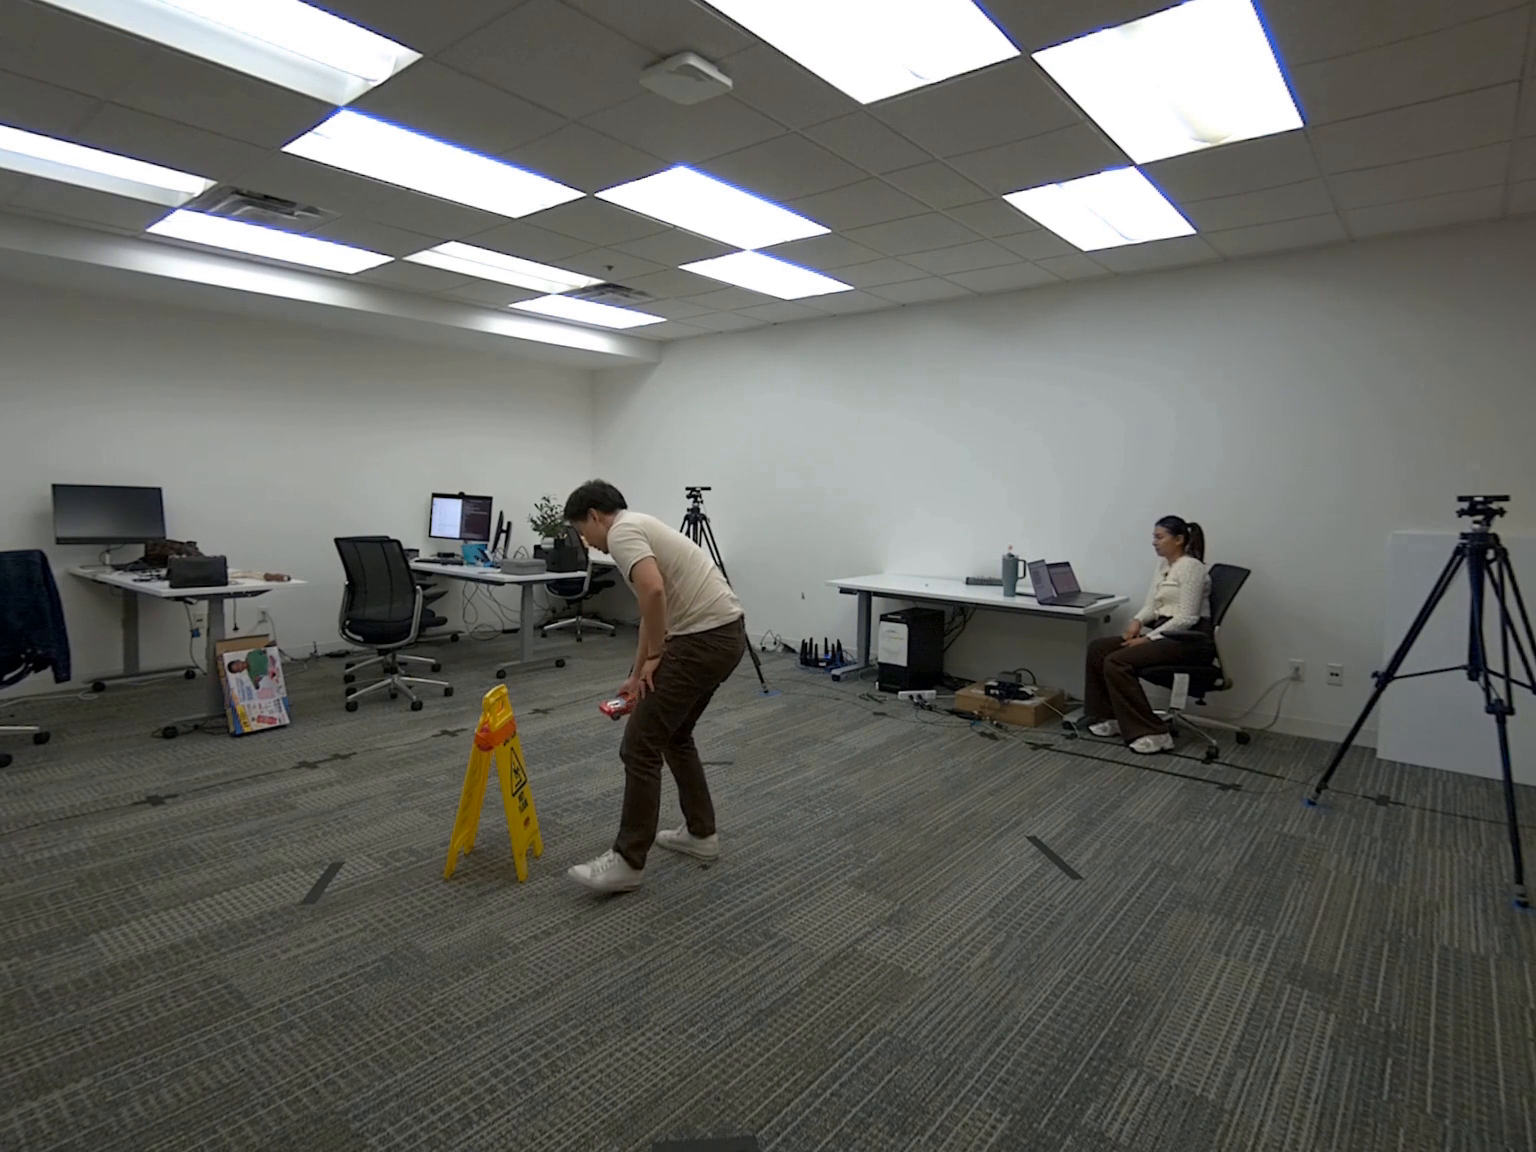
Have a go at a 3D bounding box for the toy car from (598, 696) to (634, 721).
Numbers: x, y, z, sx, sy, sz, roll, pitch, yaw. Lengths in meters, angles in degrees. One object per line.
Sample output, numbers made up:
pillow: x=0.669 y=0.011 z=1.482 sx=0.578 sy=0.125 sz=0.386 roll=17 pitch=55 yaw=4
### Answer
toy car: x=-0.571 y=0.537 z=3.482 sx=0.250 sy=0.082 sz=0.135 roll=-18 pitch=19 yaw=-28
